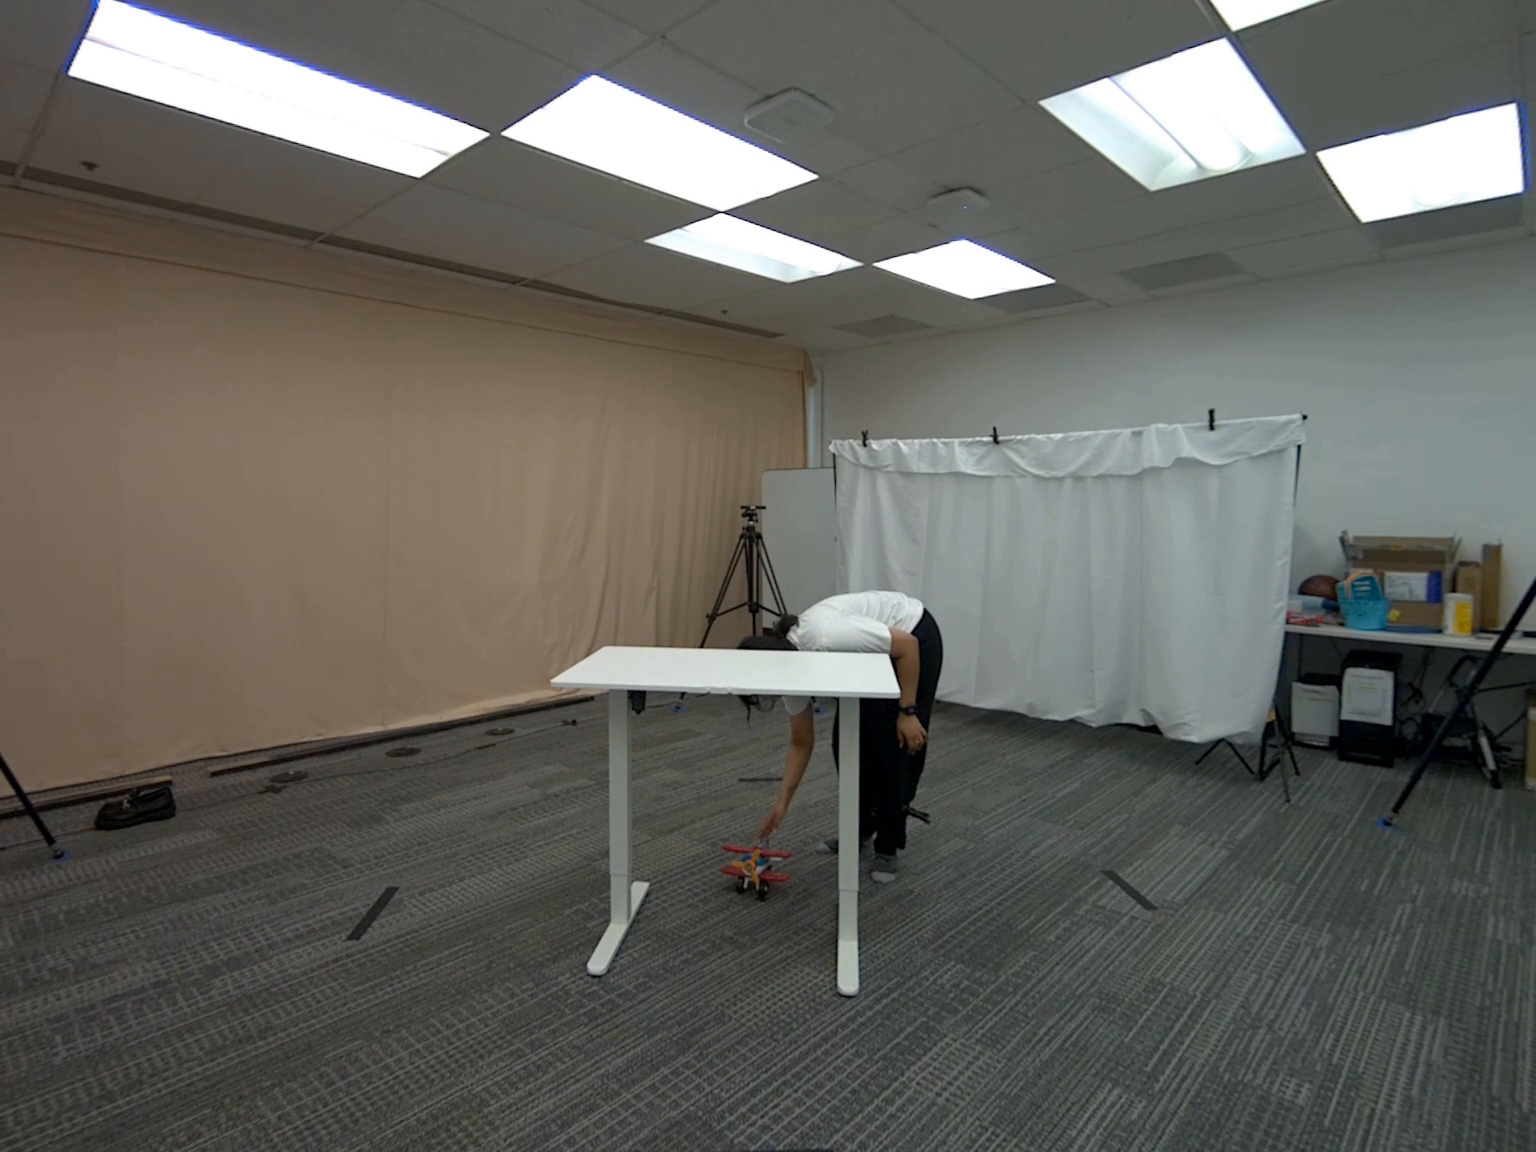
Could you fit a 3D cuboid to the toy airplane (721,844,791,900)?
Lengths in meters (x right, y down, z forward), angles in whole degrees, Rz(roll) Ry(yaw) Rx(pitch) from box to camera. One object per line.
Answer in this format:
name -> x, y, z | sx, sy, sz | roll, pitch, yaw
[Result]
toy airplane -> -0.050, 1.060, 3.096 | 0.248, 0.156, 0.263 | 0, 5, -13
